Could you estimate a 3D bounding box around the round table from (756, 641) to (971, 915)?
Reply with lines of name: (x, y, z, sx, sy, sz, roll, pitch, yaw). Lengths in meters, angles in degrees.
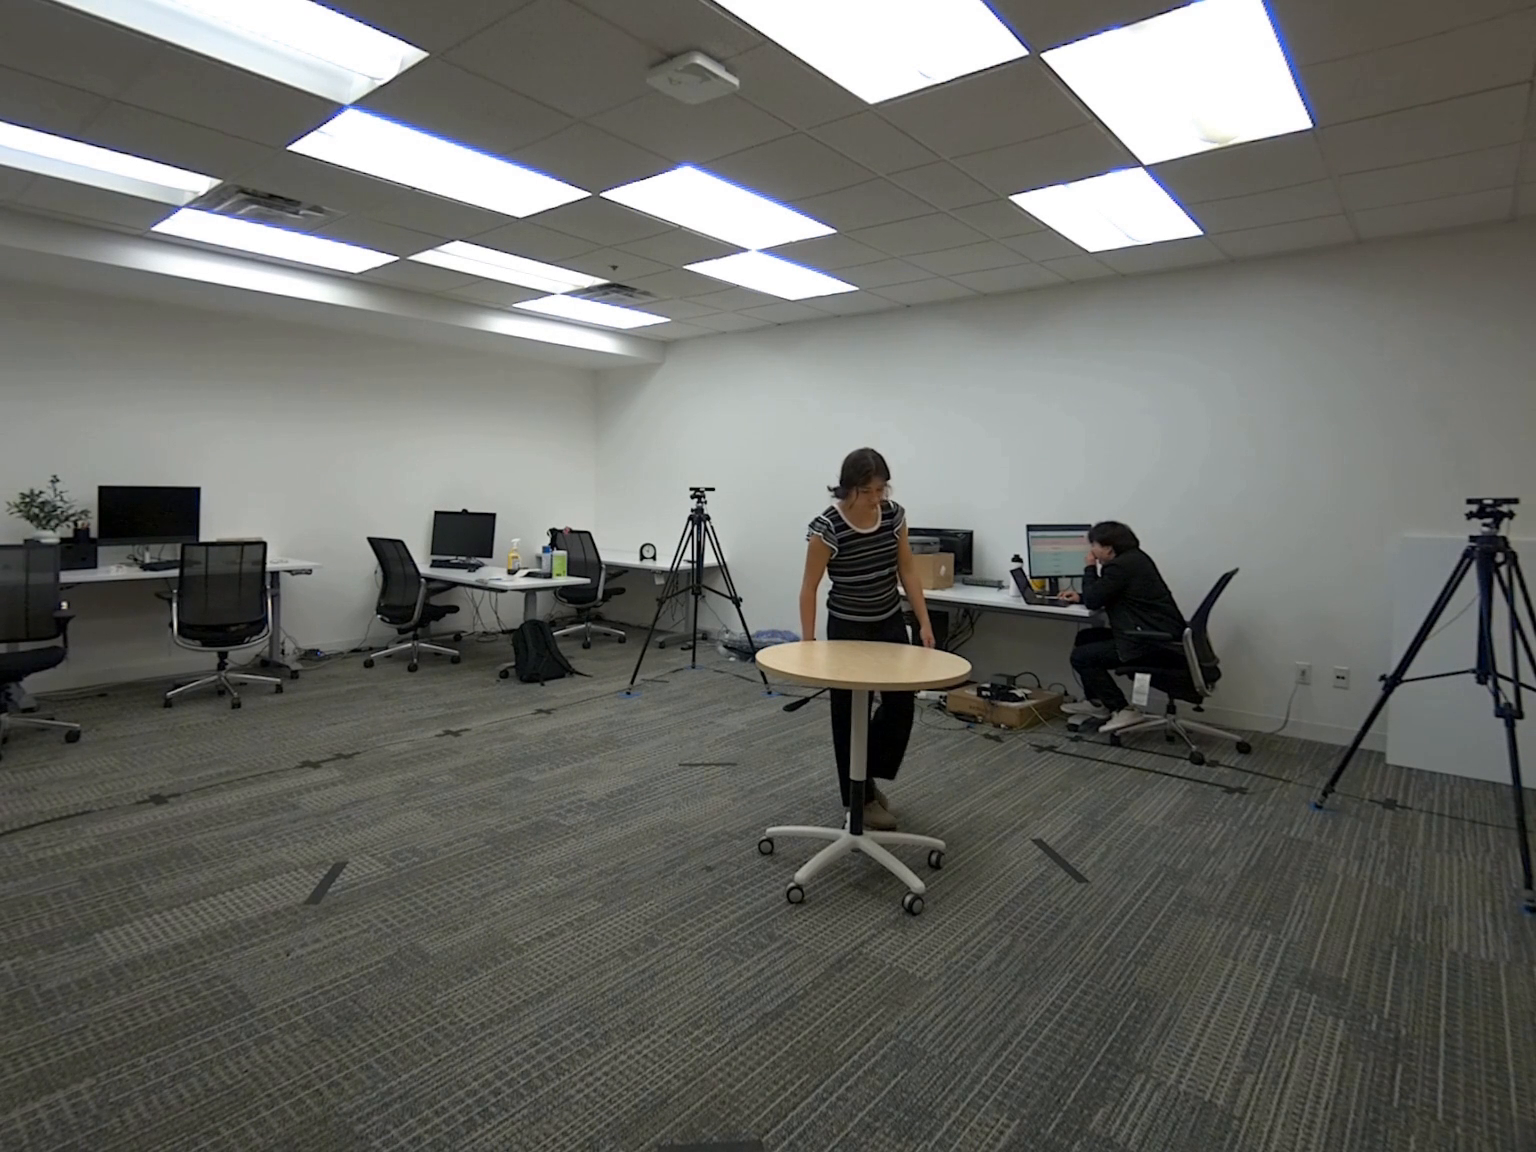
round table: (0.316, 0.692, 3.100, 0.763, 0.791, 0.768, 1, 4, -2)
